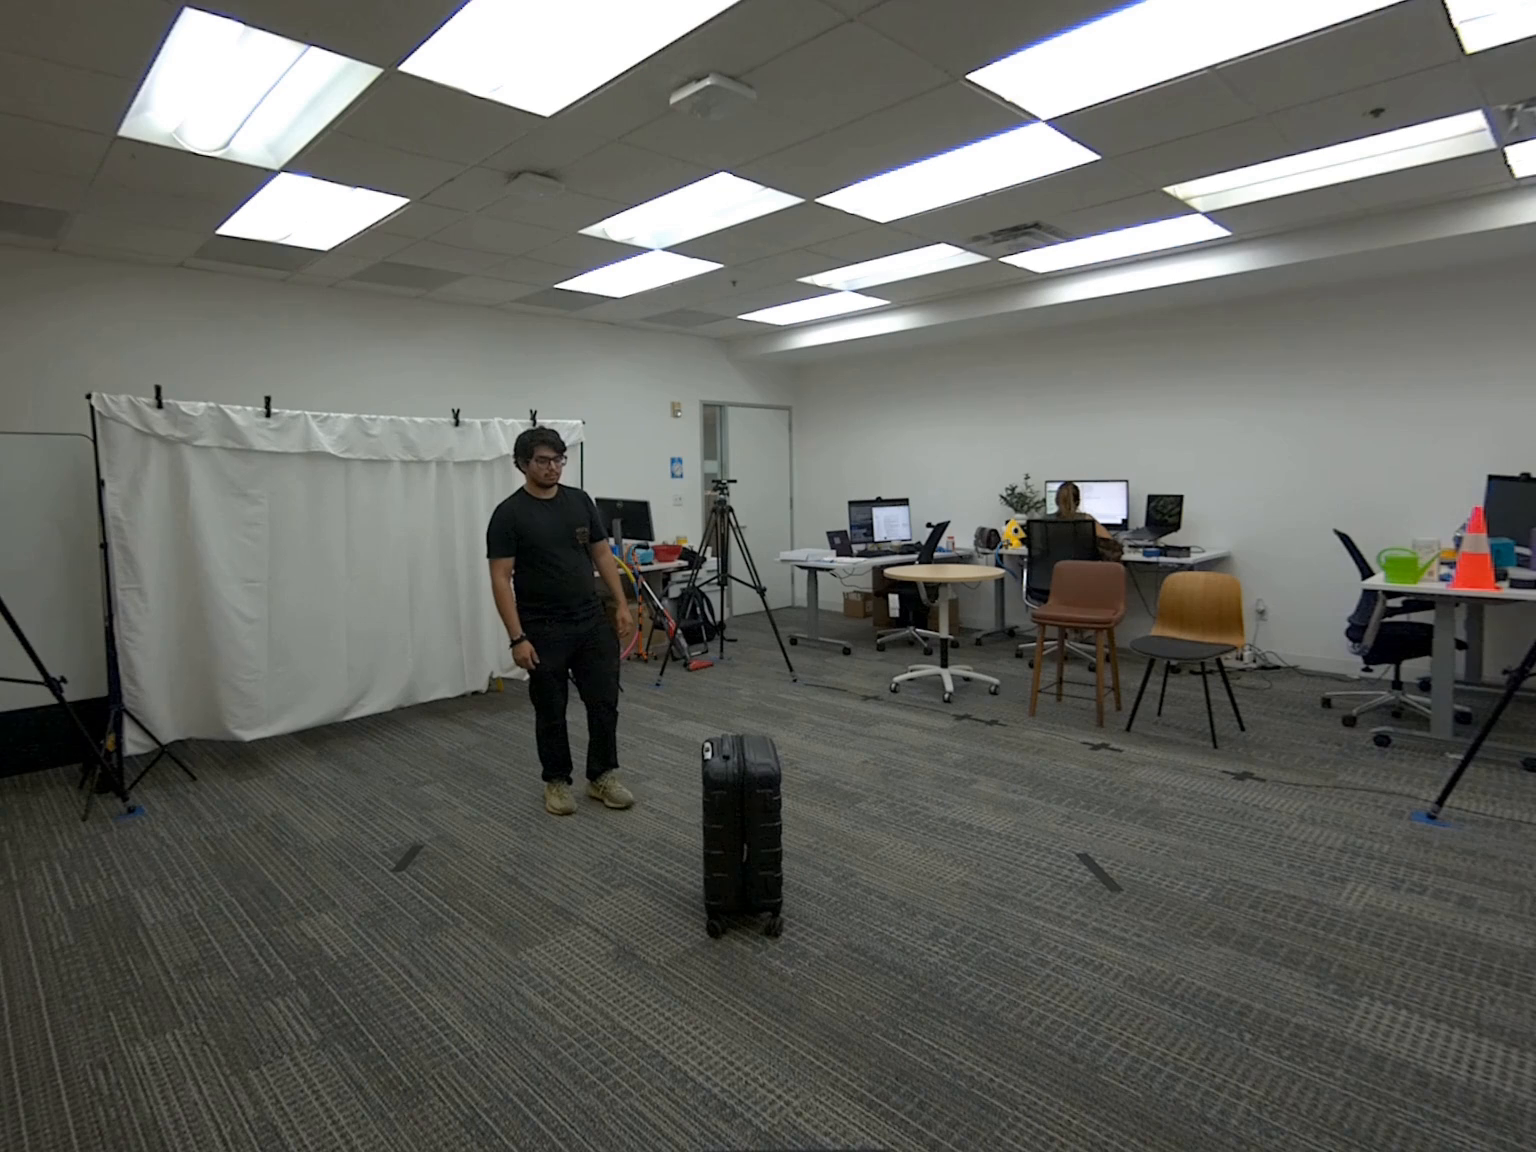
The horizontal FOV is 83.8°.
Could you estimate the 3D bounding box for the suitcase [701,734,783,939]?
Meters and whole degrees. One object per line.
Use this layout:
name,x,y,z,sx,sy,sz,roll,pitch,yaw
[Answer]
suitcase,-0.086,0.812,2.768,0.248,0.548,0.377,-1,4,-4
